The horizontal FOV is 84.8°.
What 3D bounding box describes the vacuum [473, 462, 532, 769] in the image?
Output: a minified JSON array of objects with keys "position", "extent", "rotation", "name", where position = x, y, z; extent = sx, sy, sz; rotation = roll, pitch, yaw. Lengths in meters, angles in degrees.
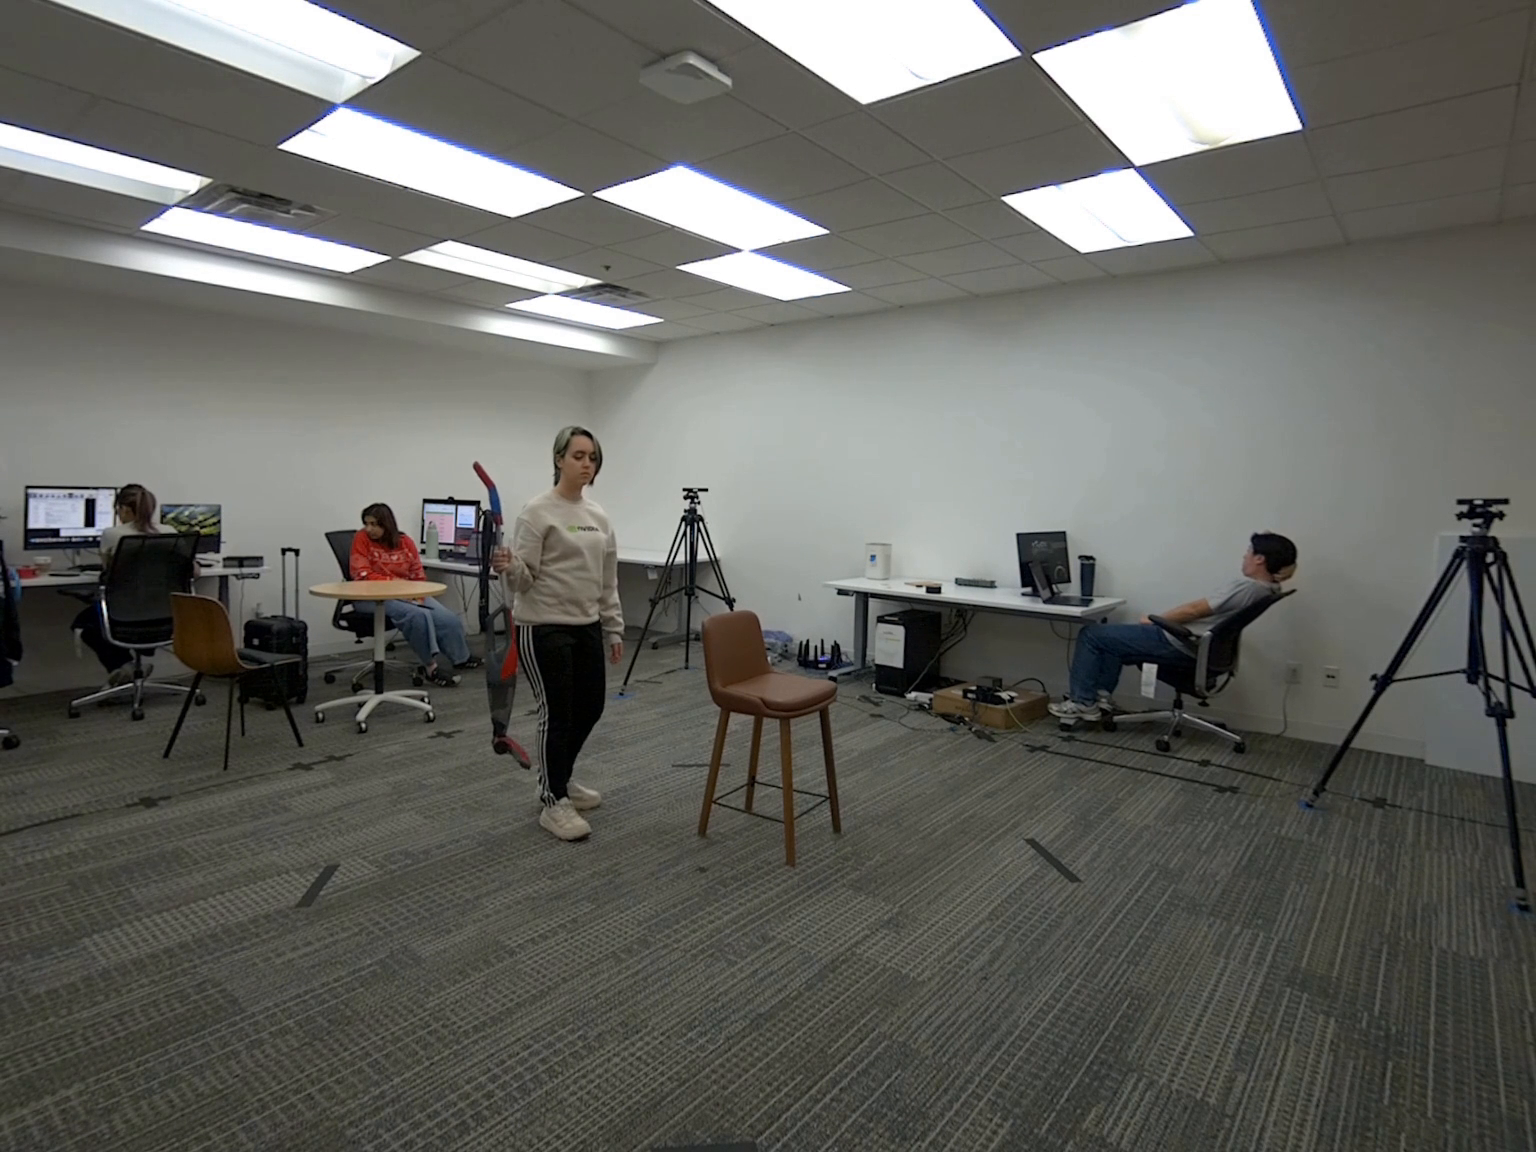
[{"position":[-1.005,0.112,3.077],"extent":[0.141,1.048,0.257],"rotation":[-7,1,-21],"name":"vacuum"}]
